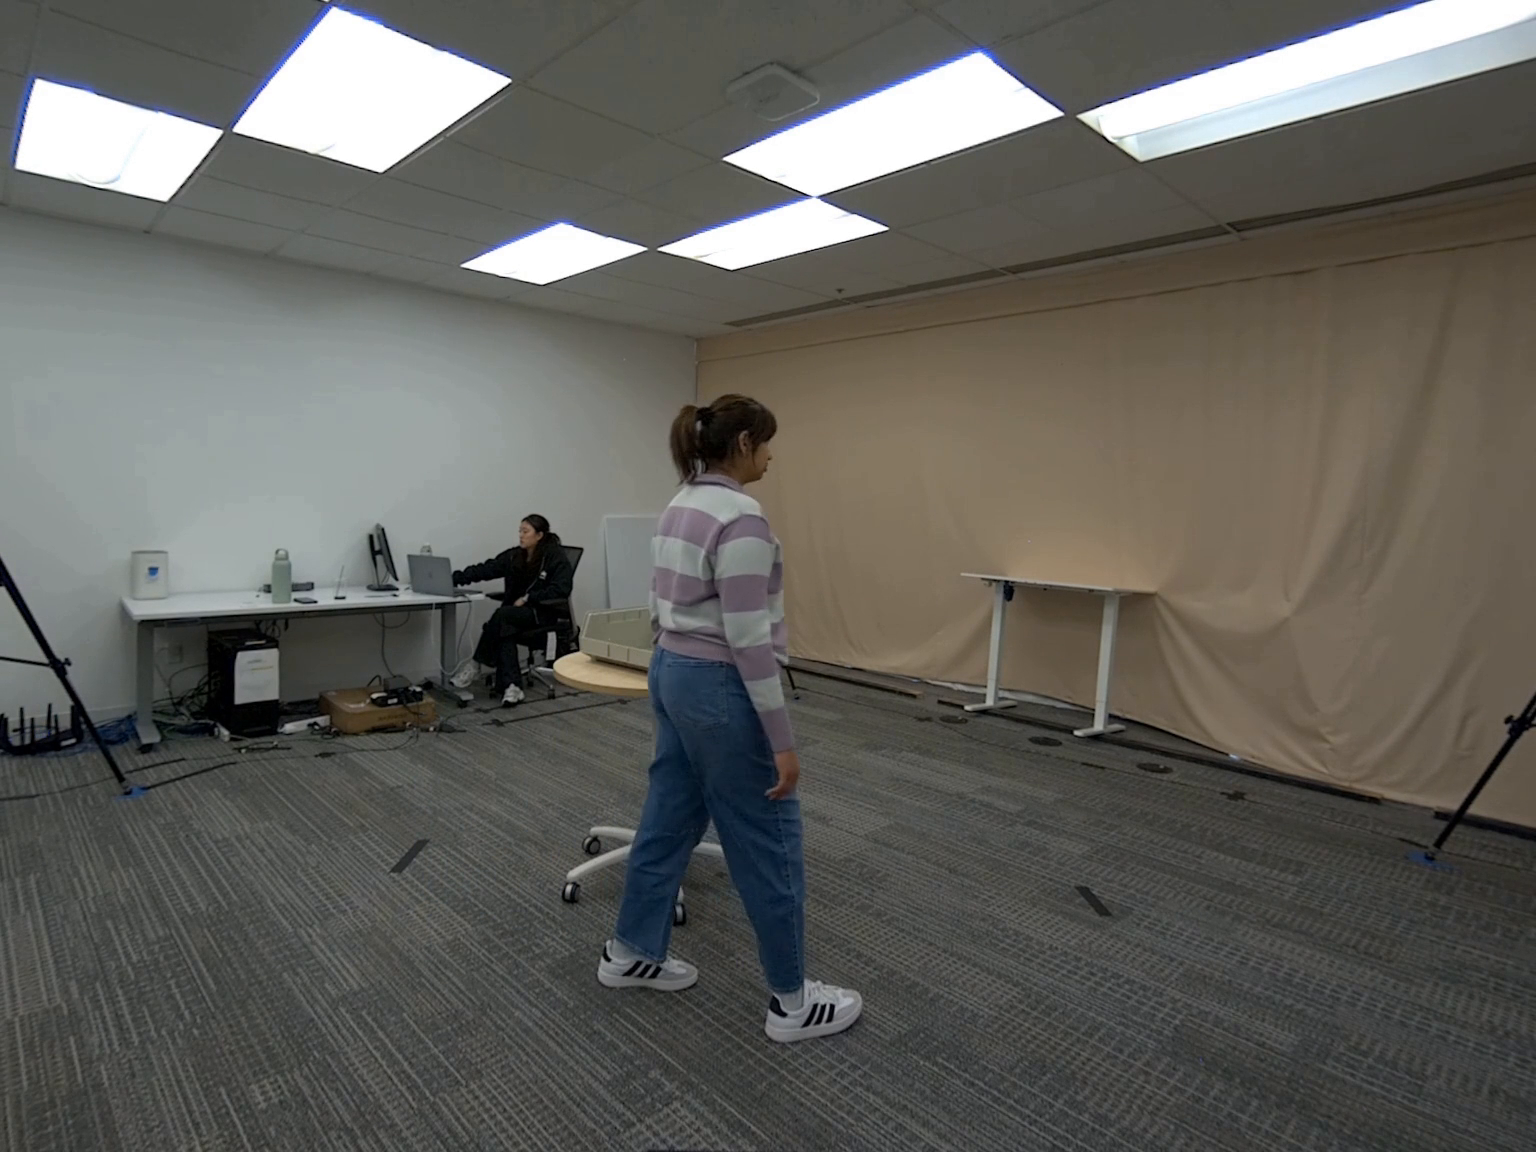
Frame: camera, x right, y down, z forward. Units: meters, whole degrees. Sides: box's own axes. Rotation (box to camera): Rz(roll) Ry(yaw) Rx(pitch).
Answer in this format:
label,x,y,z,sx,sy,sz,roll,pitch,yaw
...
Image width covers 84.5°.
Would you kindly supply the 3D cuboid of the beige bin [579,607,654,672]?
label,x,y,z,sx,sy,sz,roll,pitch,yaw
beige bin,-0.408,0.229,3.047,0.433,0.188,0.369,5,5,39
